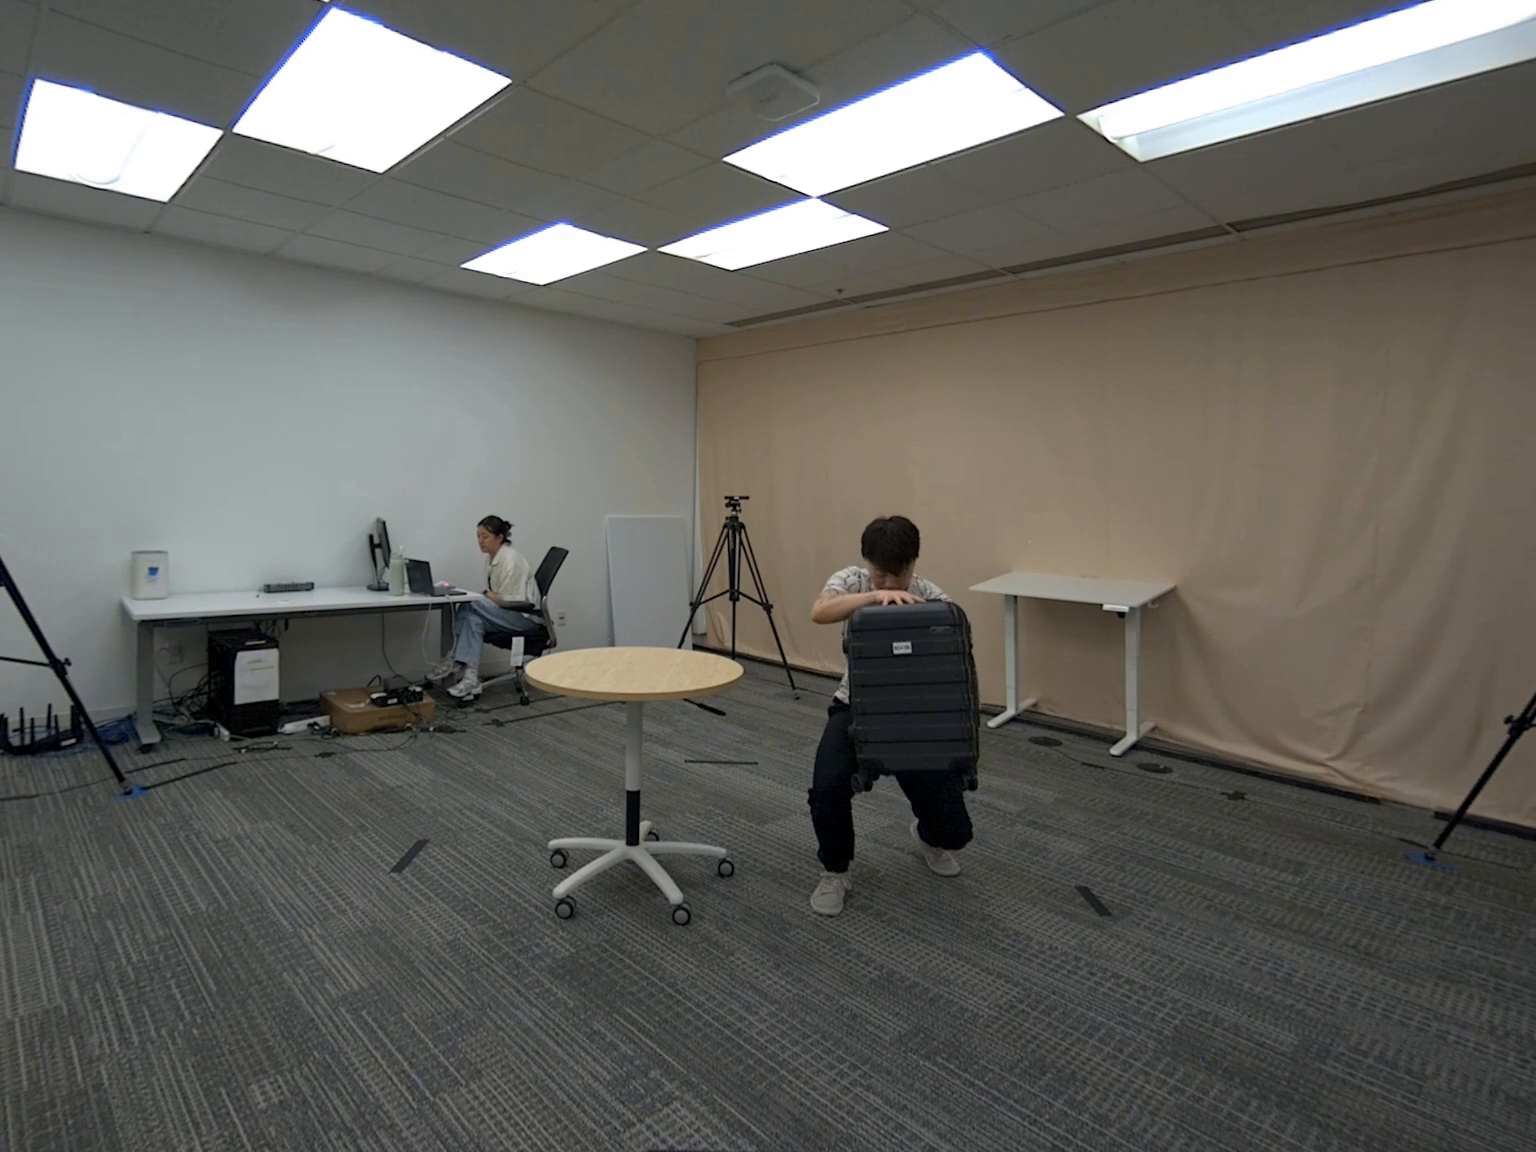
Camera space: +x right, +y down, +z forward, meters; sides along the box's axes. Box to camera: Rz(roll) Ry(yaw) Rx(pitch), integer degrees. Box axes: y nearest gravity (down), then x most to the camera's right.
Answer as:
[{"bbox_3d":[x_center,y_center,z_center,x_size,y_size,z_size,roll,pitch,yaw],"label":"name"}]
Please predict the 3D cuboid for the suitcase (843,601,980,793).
[{"bbox_3d":[0.425,0.351,2.519,0.380,0.552,0.244,-5,-7,16],"label":"suitcase"}]
